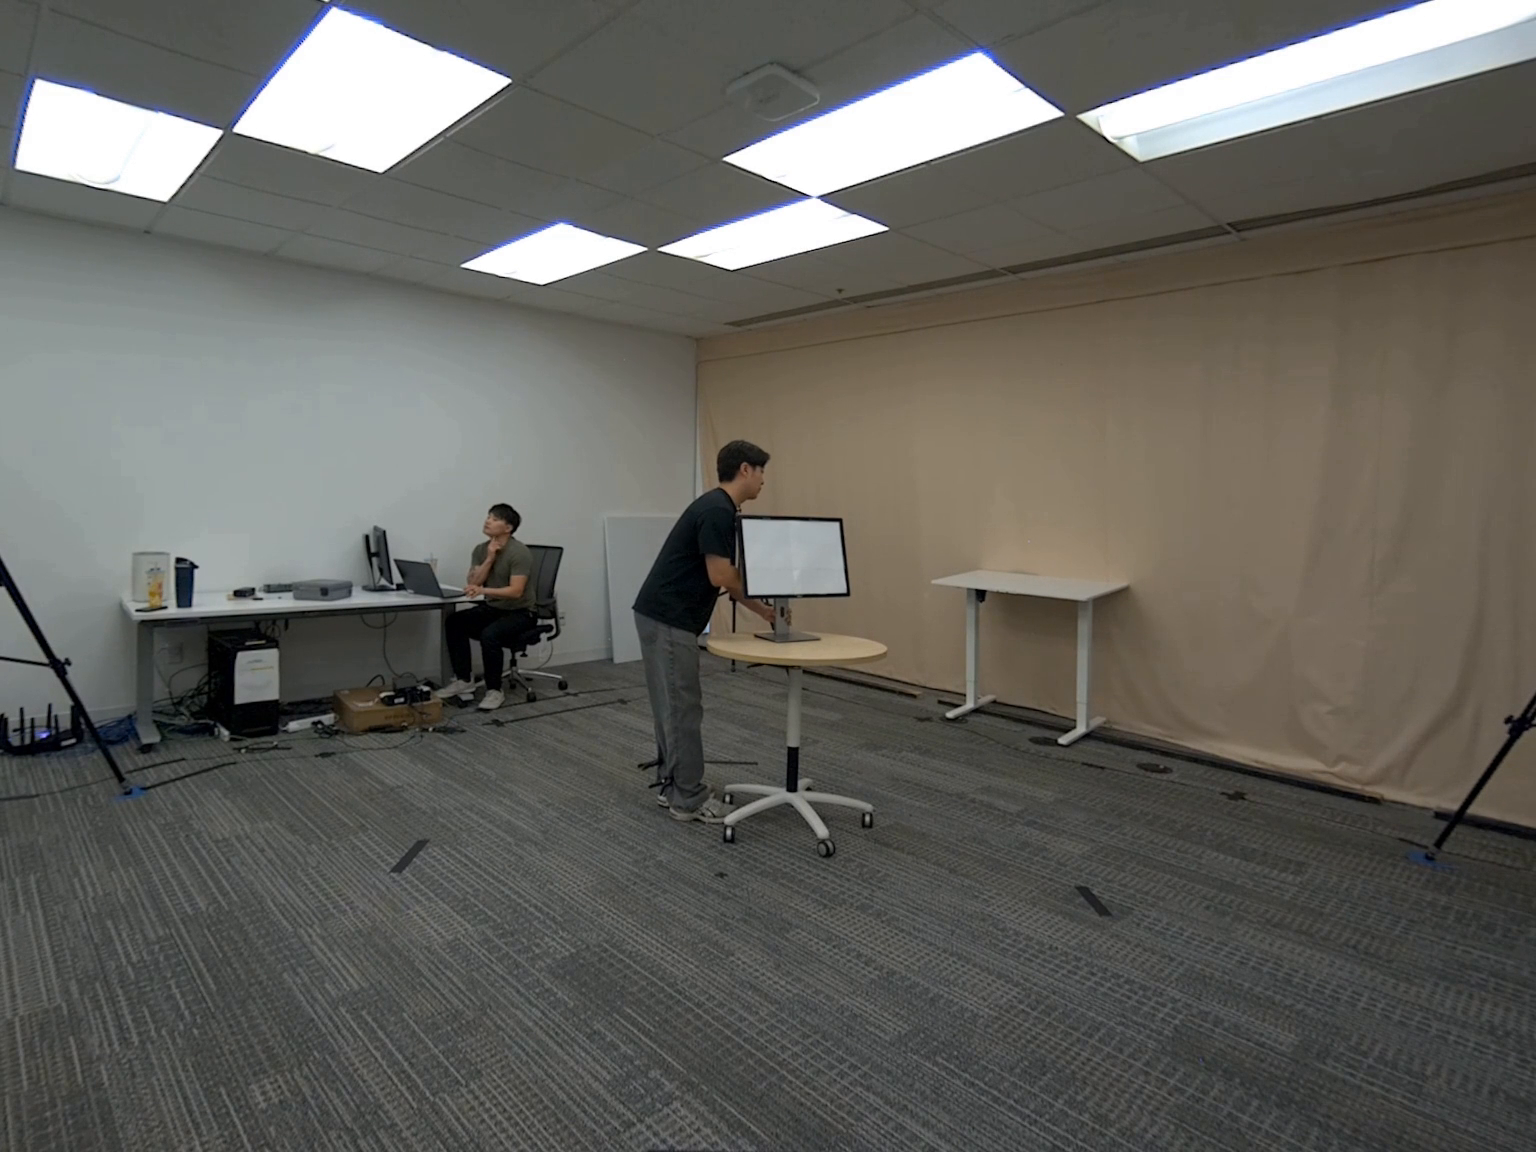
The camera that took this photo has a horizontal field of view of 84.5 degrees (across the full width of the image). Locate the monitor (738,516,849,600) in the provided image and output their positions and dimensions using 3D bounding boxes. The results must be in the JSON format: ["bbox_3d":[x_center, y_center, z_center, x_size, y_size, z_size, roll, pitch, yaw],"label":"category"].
[{"bbox_3d":[0.089,0.016,3.740,0.551,0.564,0.227,0,5,-28],"label":"monitor"}]
